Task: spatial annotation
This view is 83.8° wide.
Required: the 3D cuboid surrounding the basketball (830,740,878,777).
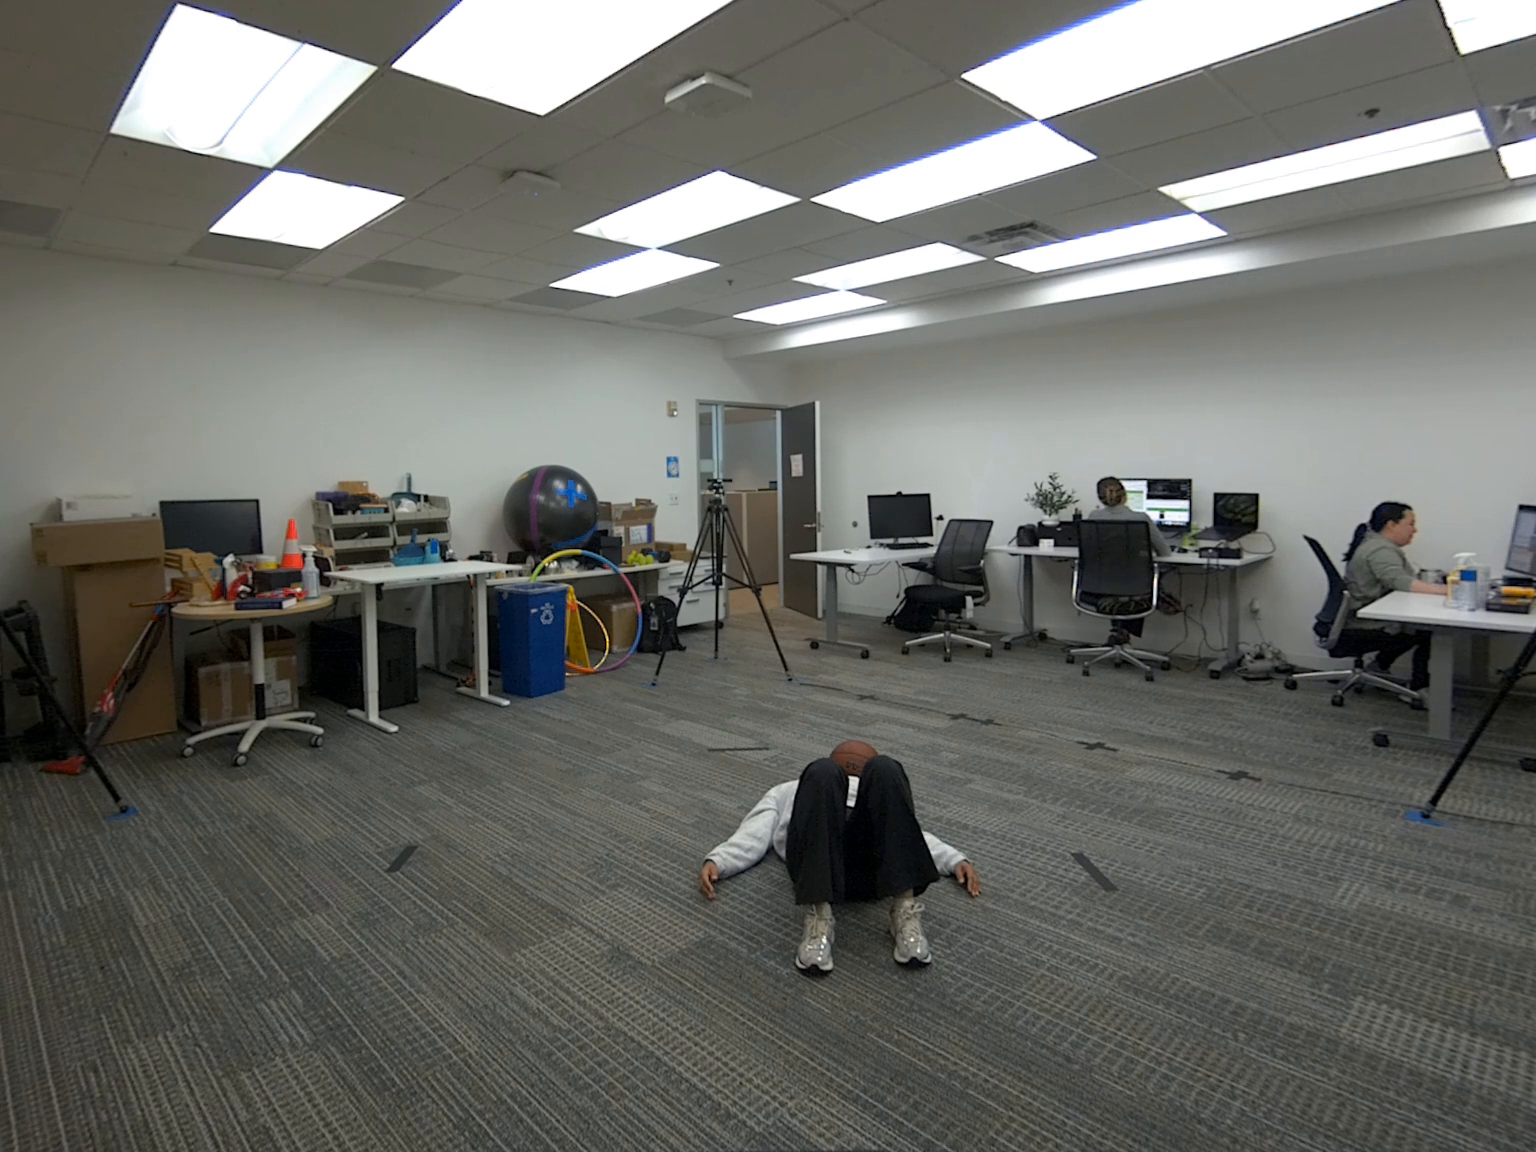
[{"bbox_3d":[0.383,0.840,3.767,0.236,0.235,0.237,-1,5,-2],"label":"basketball"}]
